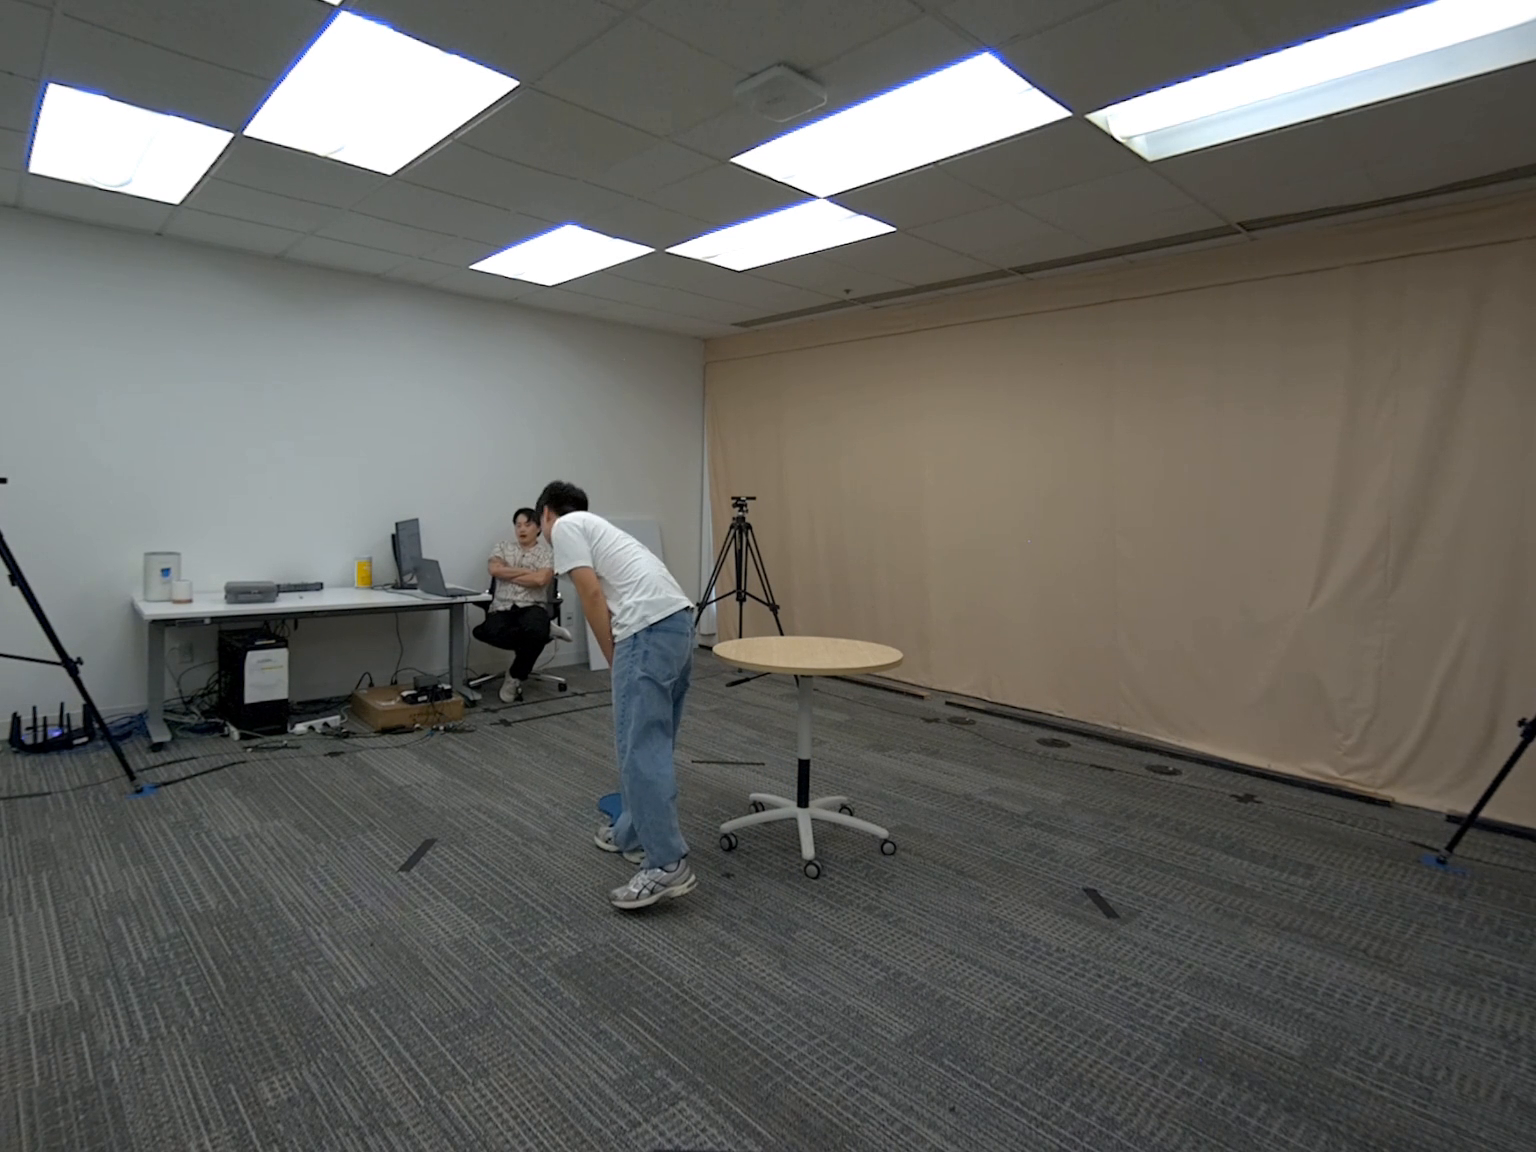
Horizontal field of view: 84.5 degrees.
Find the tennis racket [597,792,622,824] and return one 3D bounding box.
[{"bbox_3d":[-0.660,1.022,3.695,0.214,0.032,0.433,1,4,0],"label":"tennis racket"}]
